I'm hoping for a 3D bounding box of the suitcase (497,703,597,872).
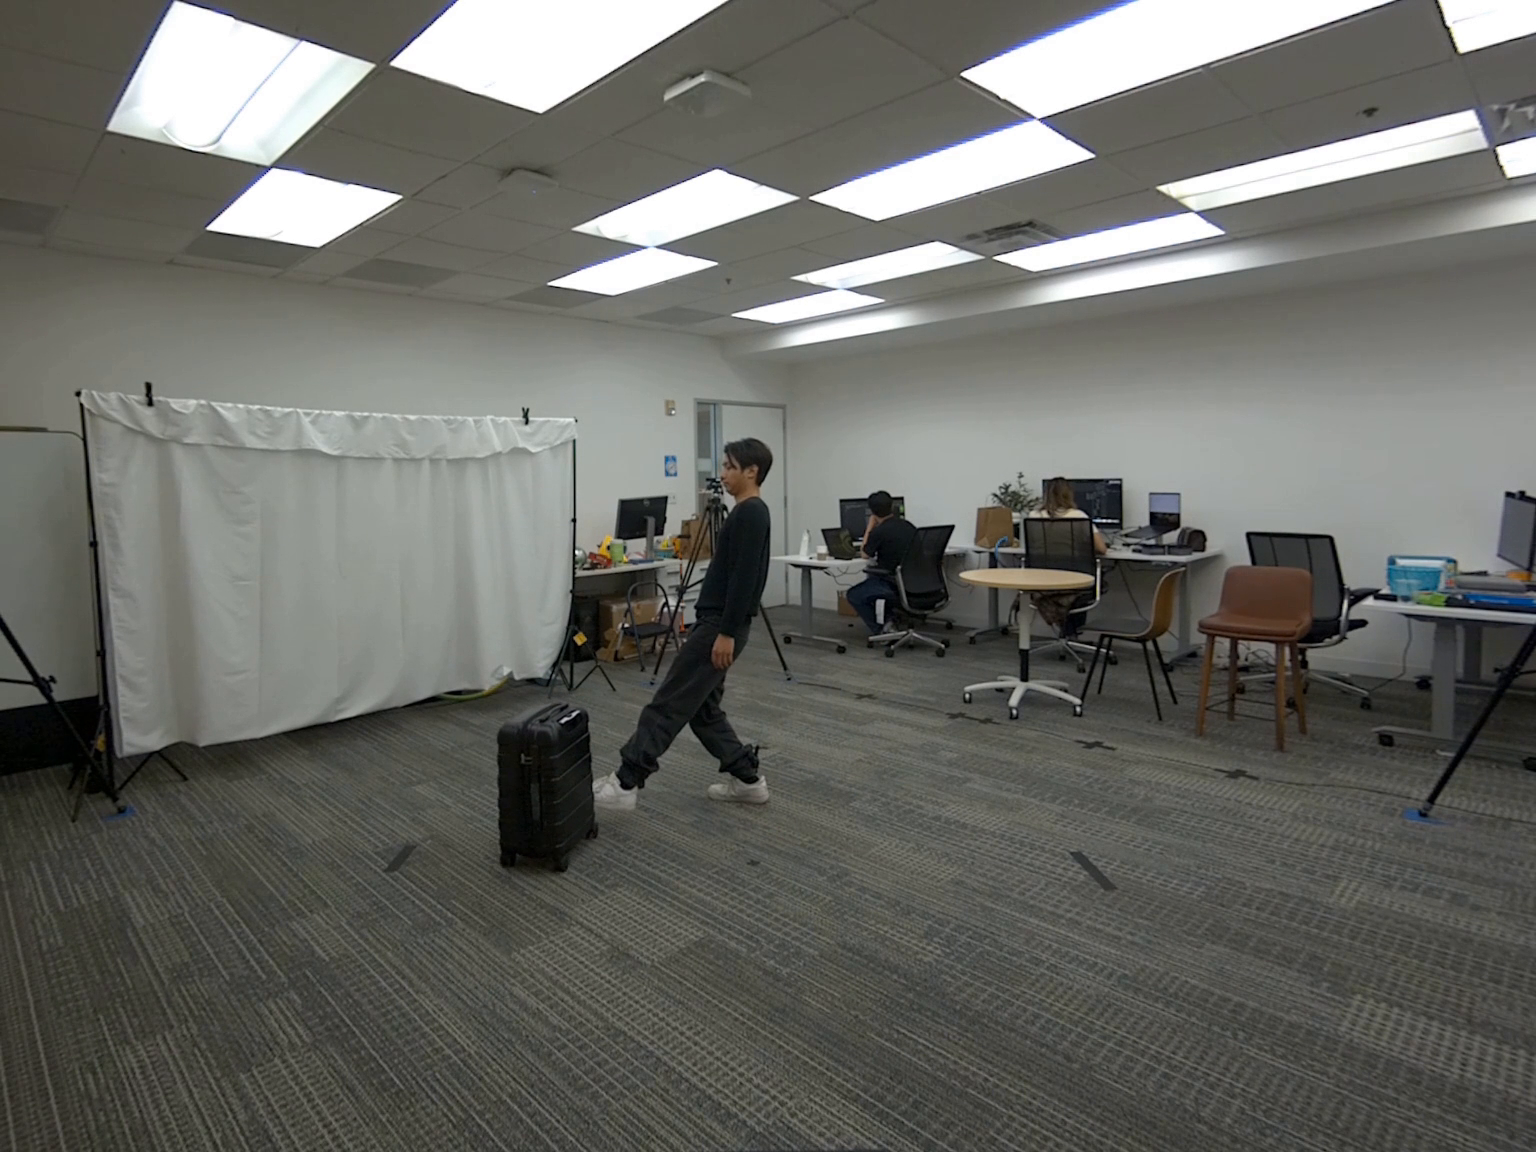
[{"bbox_3d":[-0.829,0.770,3.204,0.251,0.547,0.372,0,6,12],"label":"suitcase"}]
